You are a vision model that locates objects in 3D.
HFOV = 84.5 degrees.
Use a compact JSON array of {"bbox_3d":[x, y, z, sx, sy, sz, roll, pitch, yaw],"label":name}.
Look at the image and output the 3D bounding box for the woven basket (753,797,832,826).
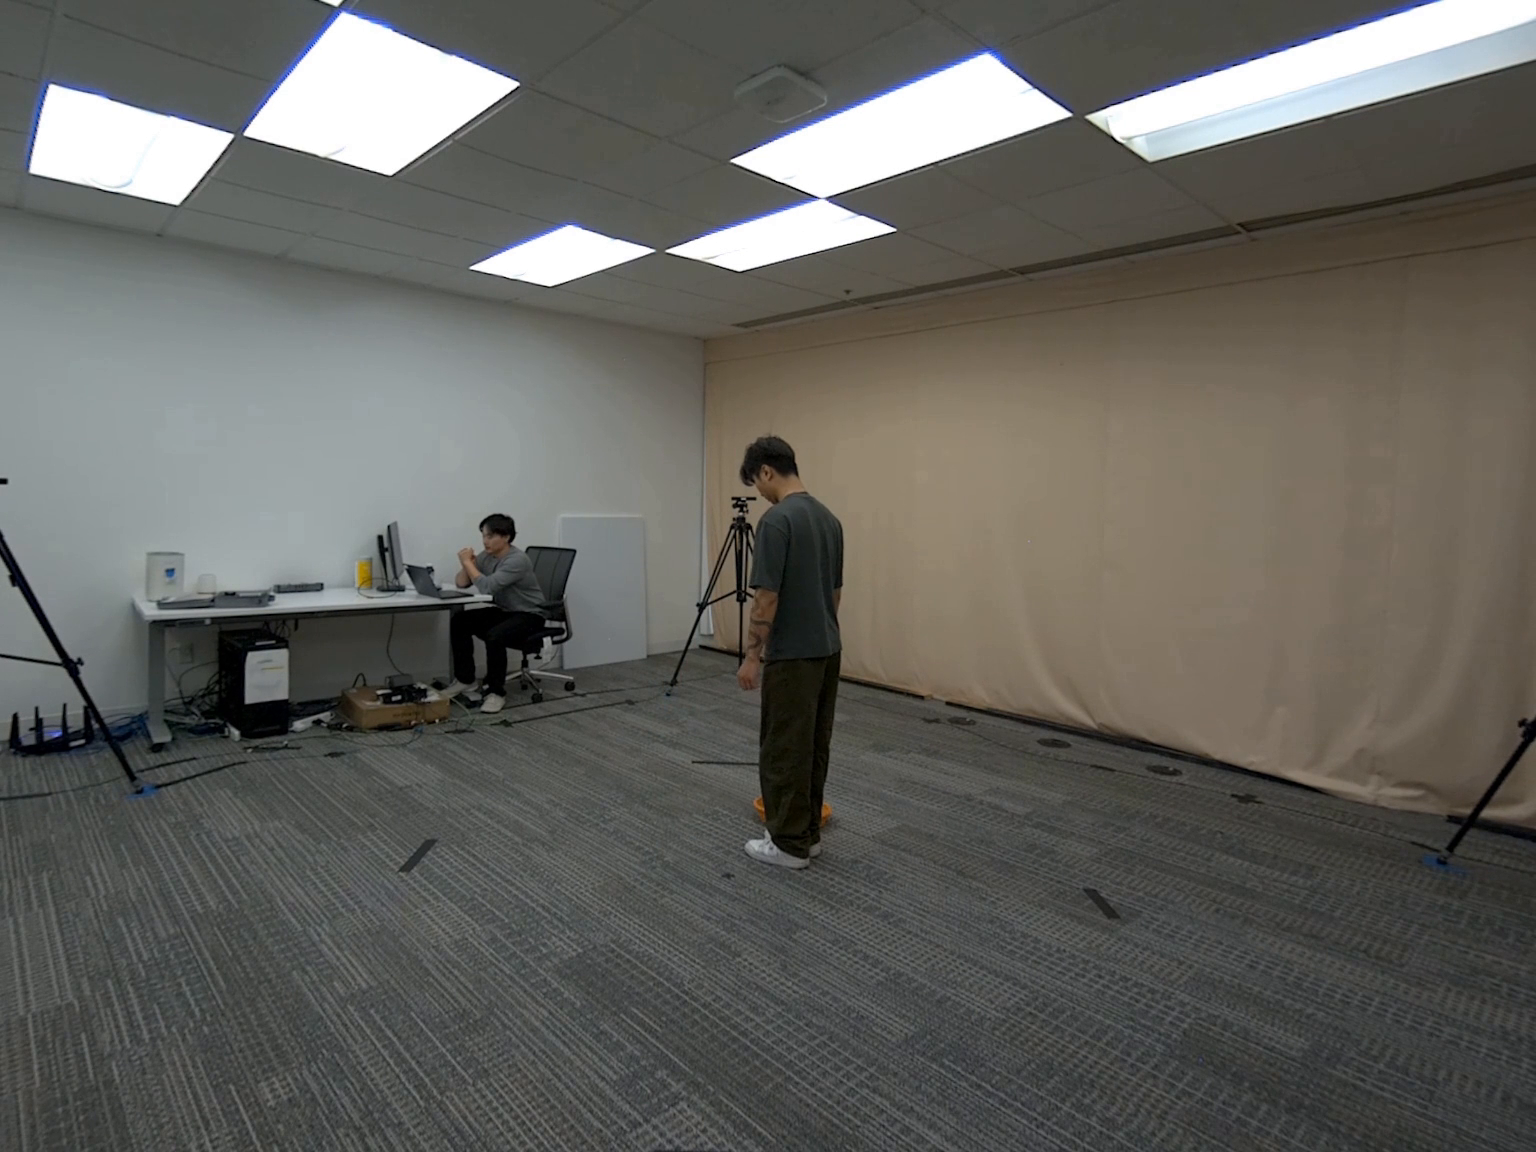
[{"bbox_3d":[0.095,1.030,3.659,0.358,0.073,0.247,4,6,30],"label":"woven basket"}]
